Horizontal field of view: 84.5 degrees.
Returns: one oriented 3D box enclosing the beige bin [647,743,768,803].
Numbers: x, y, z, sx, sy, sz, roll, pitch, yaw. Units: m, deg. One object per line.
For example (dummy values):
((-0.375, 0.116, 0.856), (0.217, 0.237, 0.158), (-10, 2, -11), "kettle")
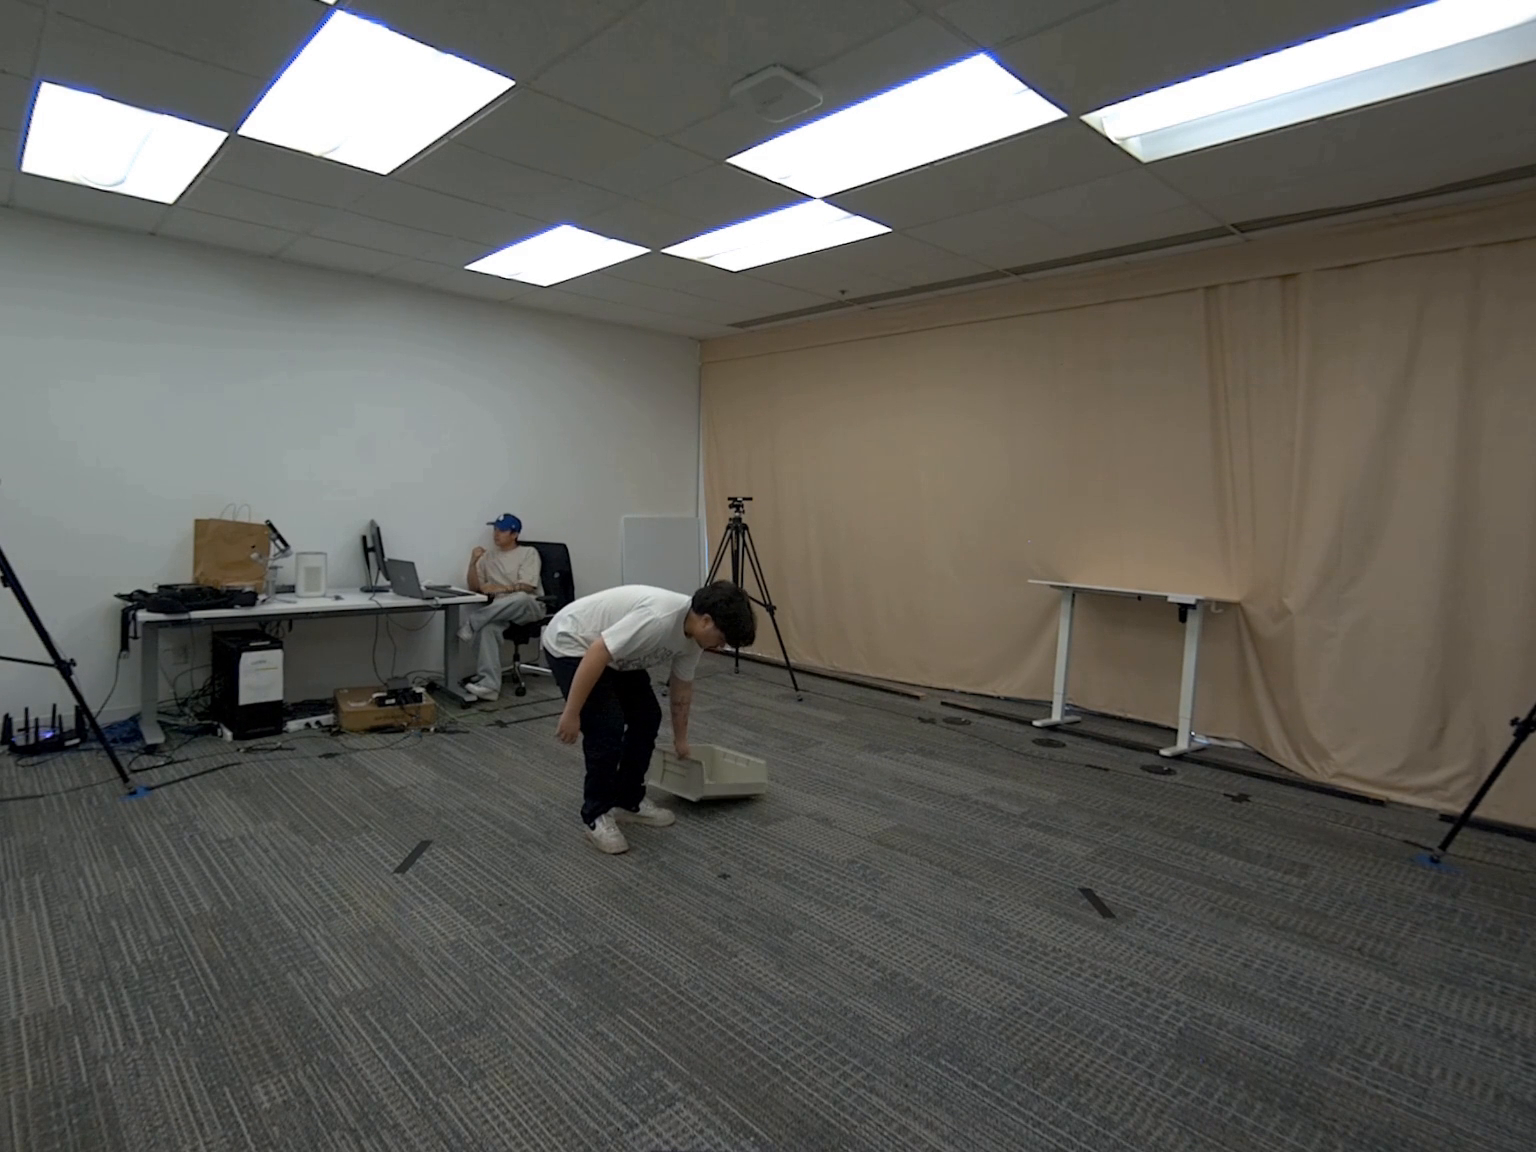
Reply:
((-0.287, 0.909, 3.892), (0.387, 0.189, 0.410), (5, -5, 43), "beige bin")
